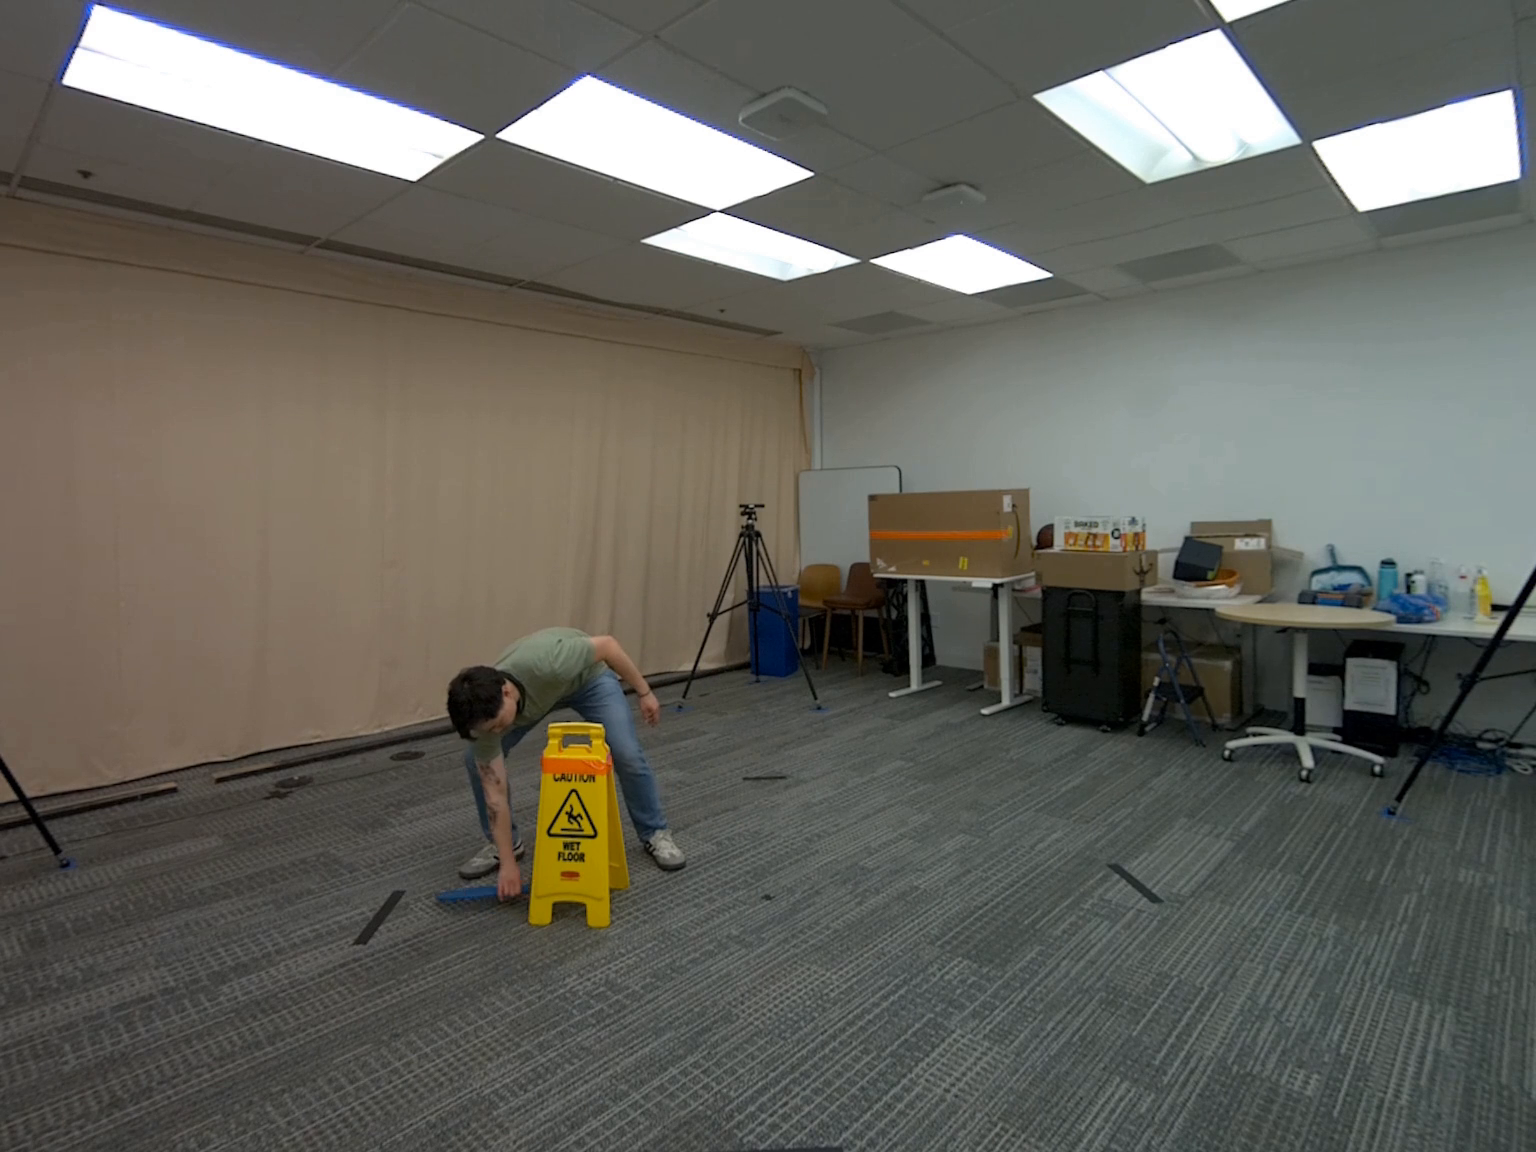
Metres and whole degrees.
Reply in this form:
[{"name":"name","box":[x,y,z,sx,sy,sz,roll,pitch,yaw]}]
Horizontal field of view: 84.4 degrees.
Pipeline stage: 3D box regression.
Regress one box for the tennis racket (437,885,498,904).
[{"name":"tennis racket","box":[-0.973,1.122,2.995,0.437,0.032,0.210,-7,-8,10]}]
